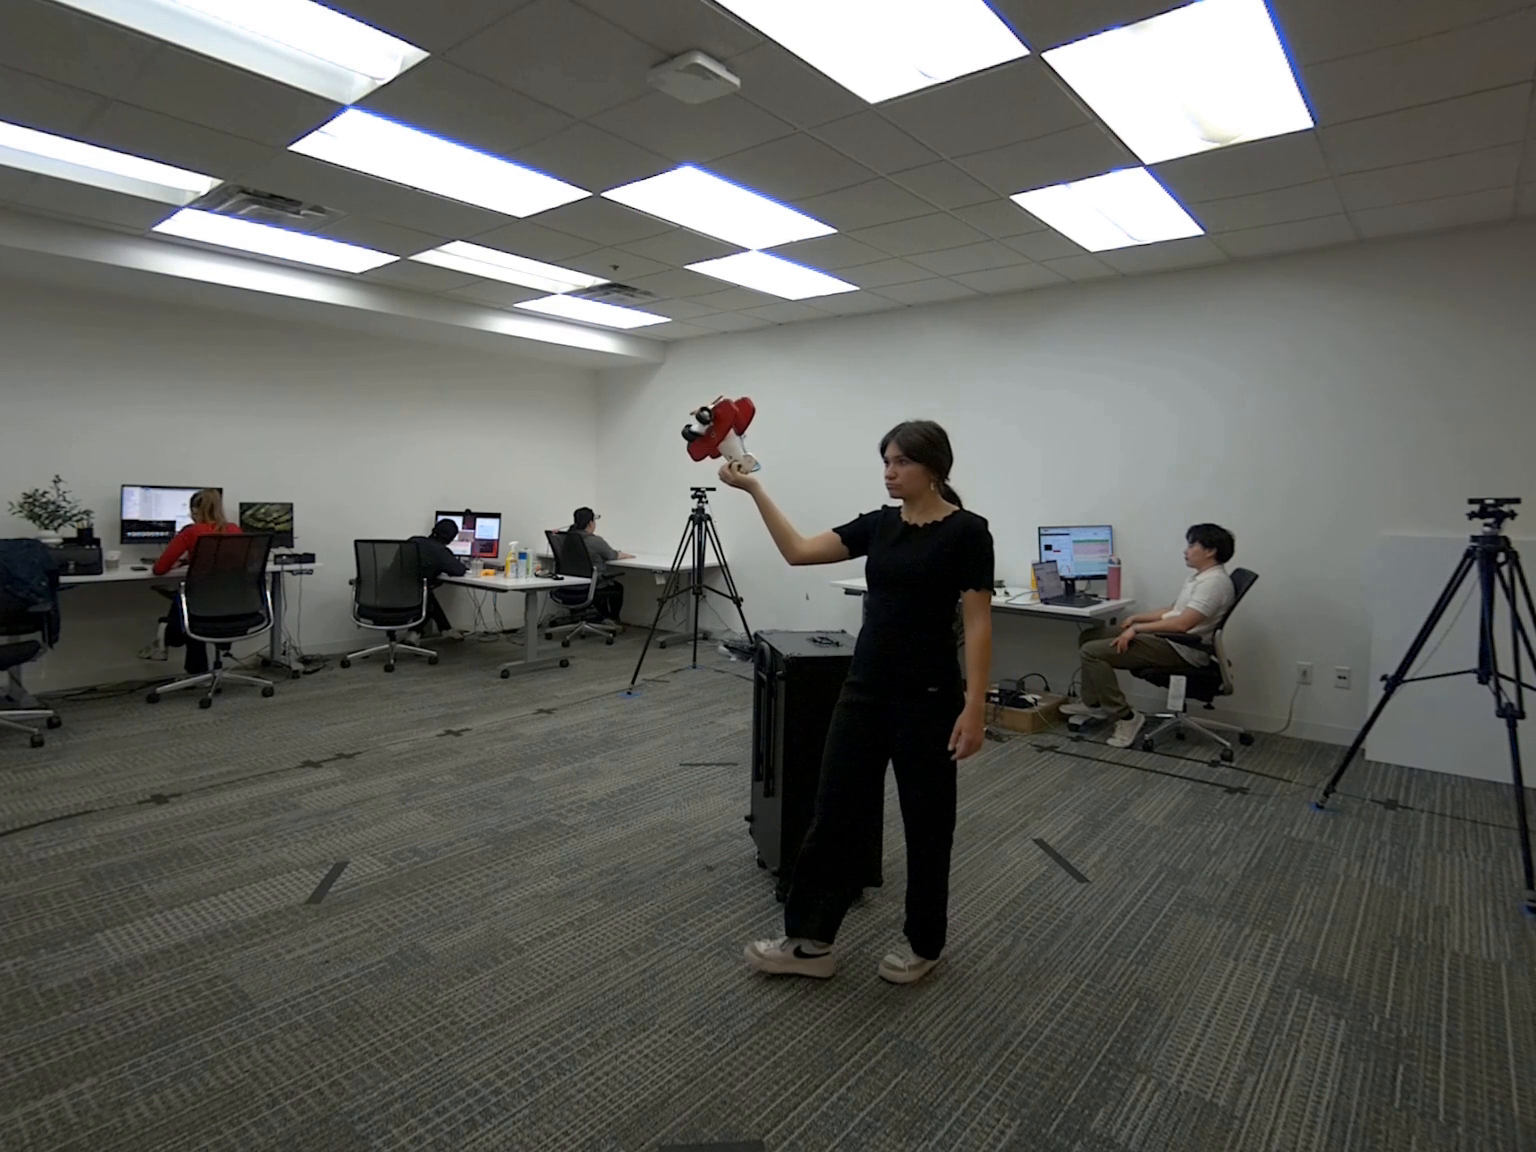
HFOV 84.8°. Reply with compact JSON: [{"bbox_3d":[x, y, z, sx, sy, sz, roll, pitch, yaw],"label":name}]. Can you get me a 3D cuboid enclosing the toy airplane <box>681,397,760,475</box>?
[{"bbox_3d":[-0.155,-0.409,2.612,0.258,0.255,0.155,-7,19,39],"label":"toy airplane"}]
